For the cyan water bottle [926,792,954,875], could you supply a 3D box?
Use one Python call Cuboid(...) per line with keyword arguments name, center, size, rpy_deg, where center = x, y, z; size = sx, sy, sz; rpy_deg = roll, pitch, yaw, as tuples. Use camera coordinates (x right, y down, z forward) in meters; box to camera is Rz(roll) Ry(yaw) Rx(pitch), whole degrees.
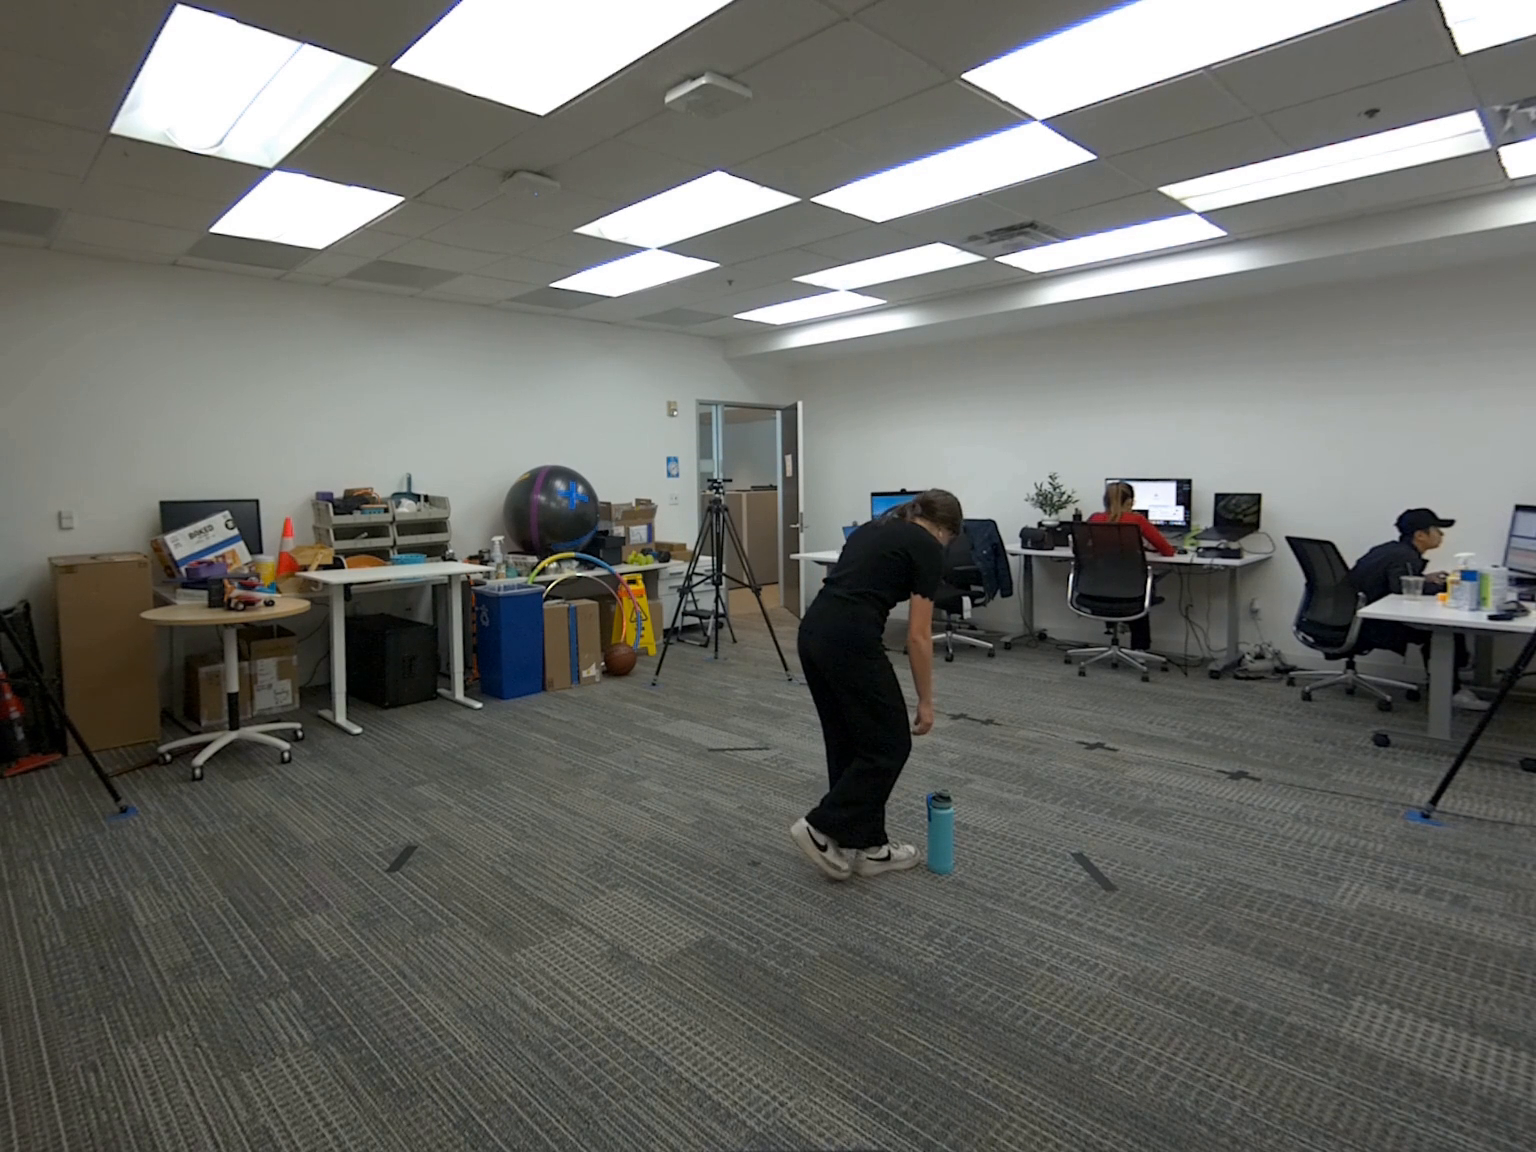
Cuboid(name="cyan water bottle", center=(0.605, 0.894, 3.024), size=(0.092, 0.282, 0.093), rpy_deg=(-1, 5, -2))
